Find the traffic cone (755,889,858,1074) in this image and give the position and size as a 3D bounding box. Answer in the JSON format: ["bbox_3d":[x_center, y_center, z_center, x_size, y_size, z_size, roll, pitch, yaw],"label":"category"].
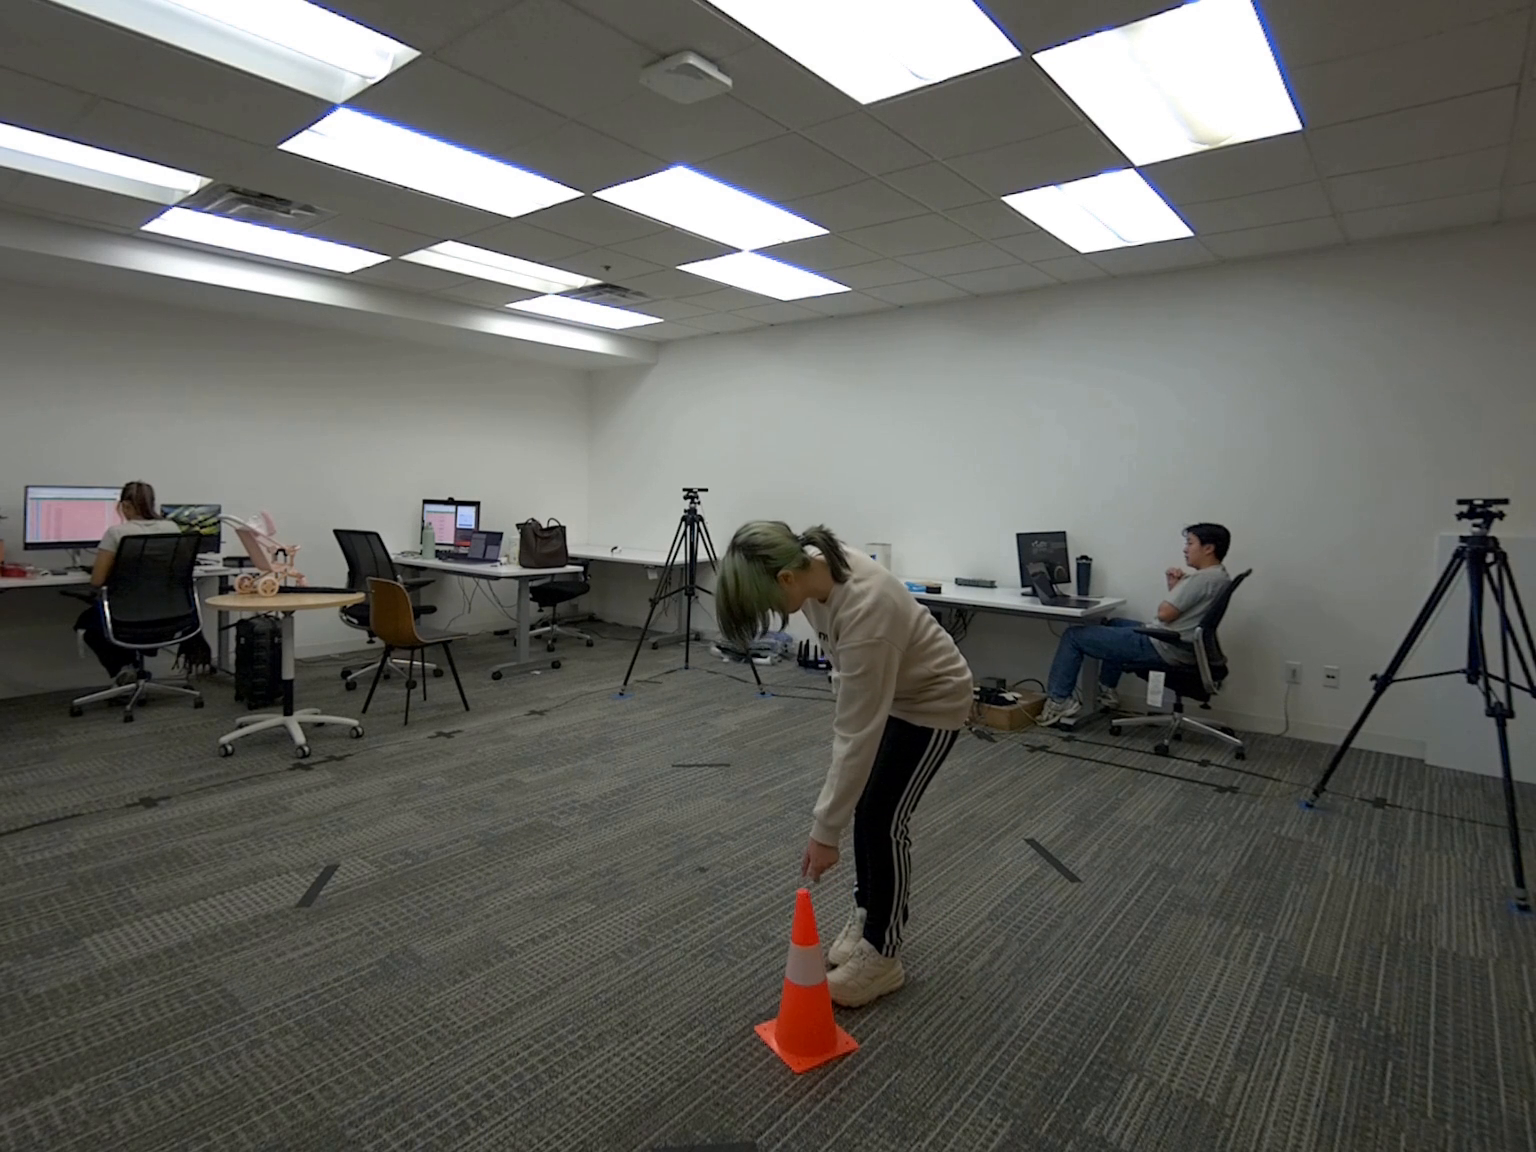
[{"bbox_3d":[0.095,0.985,2.156,0.198,0.382,0.211,-1,4,-27],"label":"traffic cone"}]
